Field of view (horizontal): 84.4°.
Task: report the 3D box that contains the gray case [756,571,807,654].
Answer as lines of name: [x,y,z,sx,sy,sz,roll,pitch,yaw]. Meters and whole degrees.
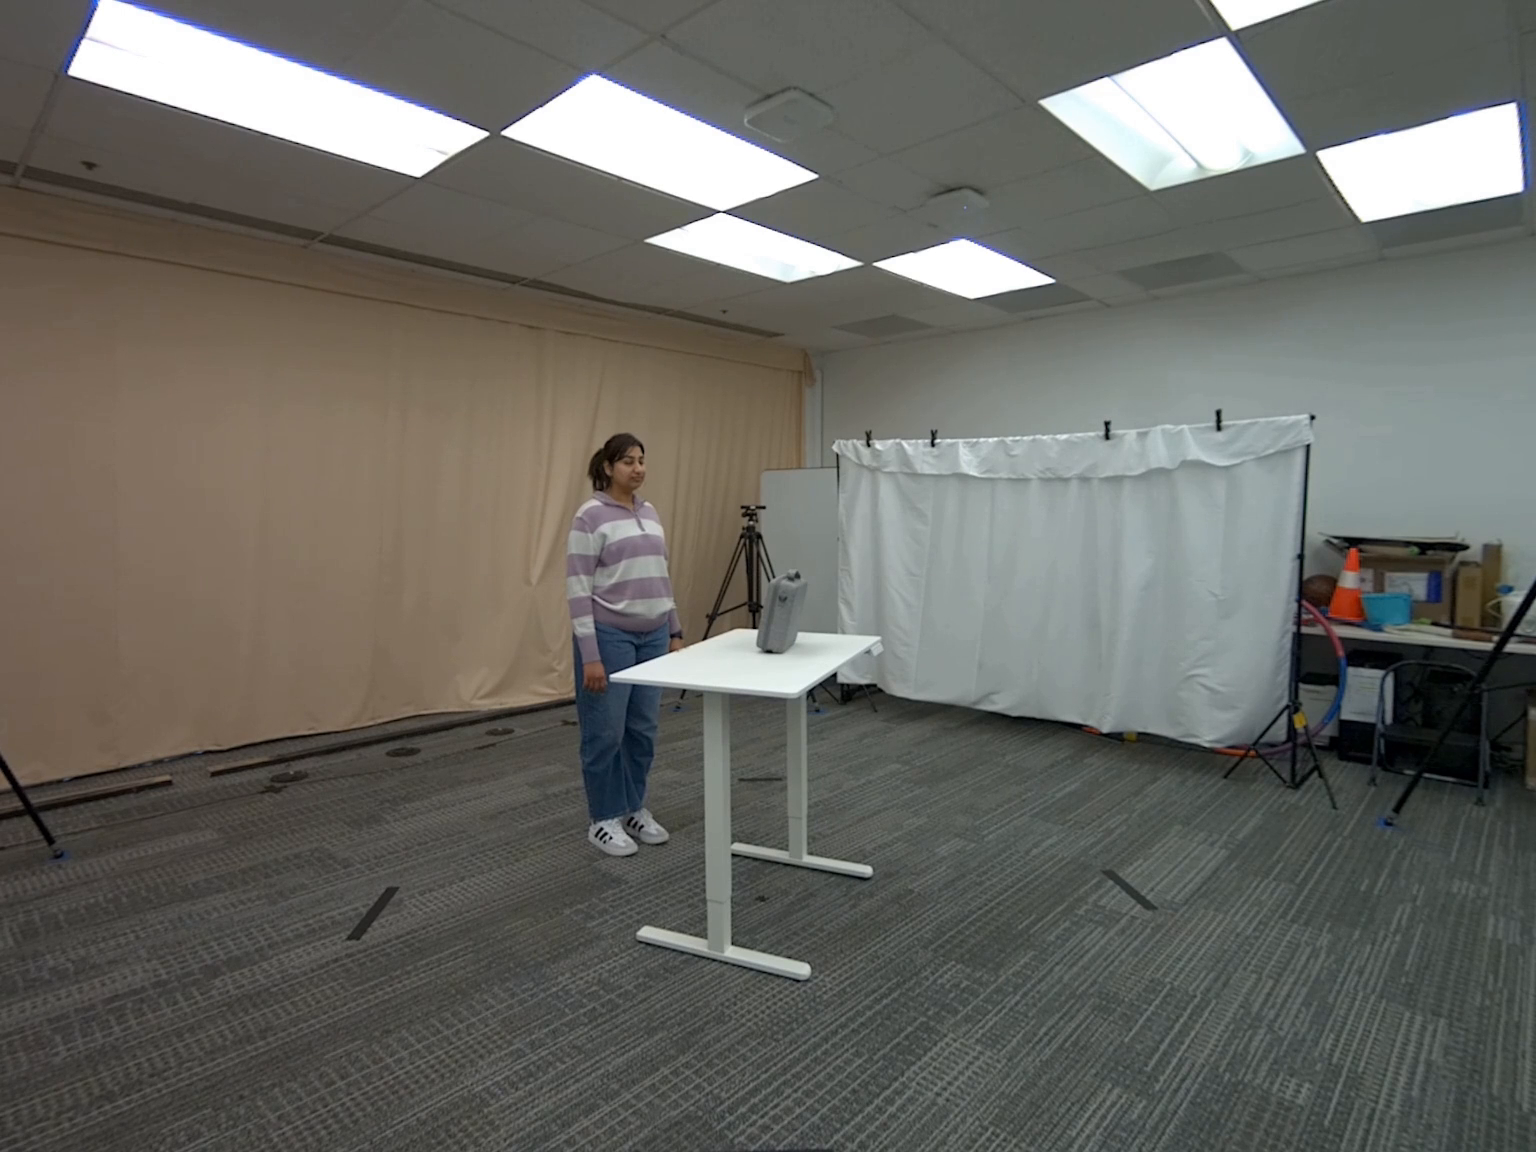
gray case: [0.058,0.128,2.988,0.106,0.260,0.254,10,8,12]
